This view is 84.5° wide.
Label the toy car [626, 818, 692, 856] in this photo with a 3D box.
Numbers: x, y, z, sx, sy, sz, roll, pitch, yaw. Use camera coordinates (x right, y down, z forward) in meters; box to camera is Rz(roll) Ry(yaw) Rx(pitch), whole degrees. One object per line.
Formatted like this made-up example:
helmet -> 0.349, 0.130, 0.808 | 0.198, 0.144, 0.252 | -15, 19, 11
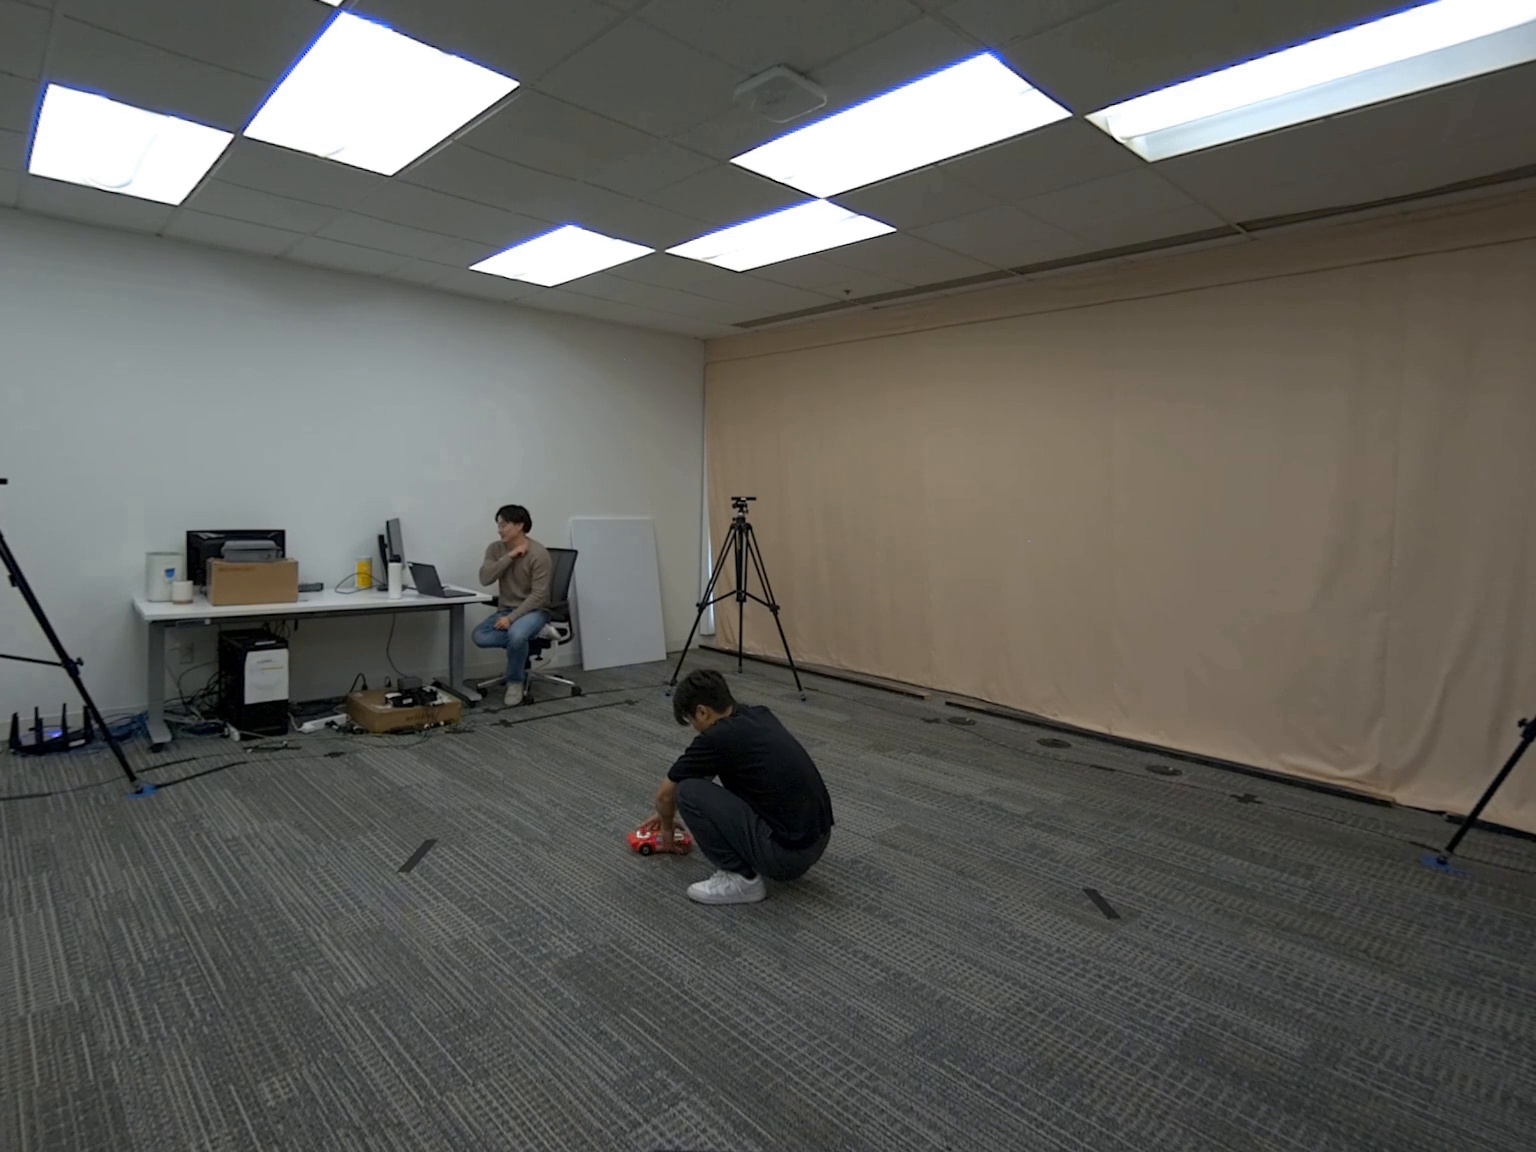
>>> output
toy car -> -0.437, 1.043, 3.316 | 0.253, 0.083, 0.131 | 11, 2, -7
